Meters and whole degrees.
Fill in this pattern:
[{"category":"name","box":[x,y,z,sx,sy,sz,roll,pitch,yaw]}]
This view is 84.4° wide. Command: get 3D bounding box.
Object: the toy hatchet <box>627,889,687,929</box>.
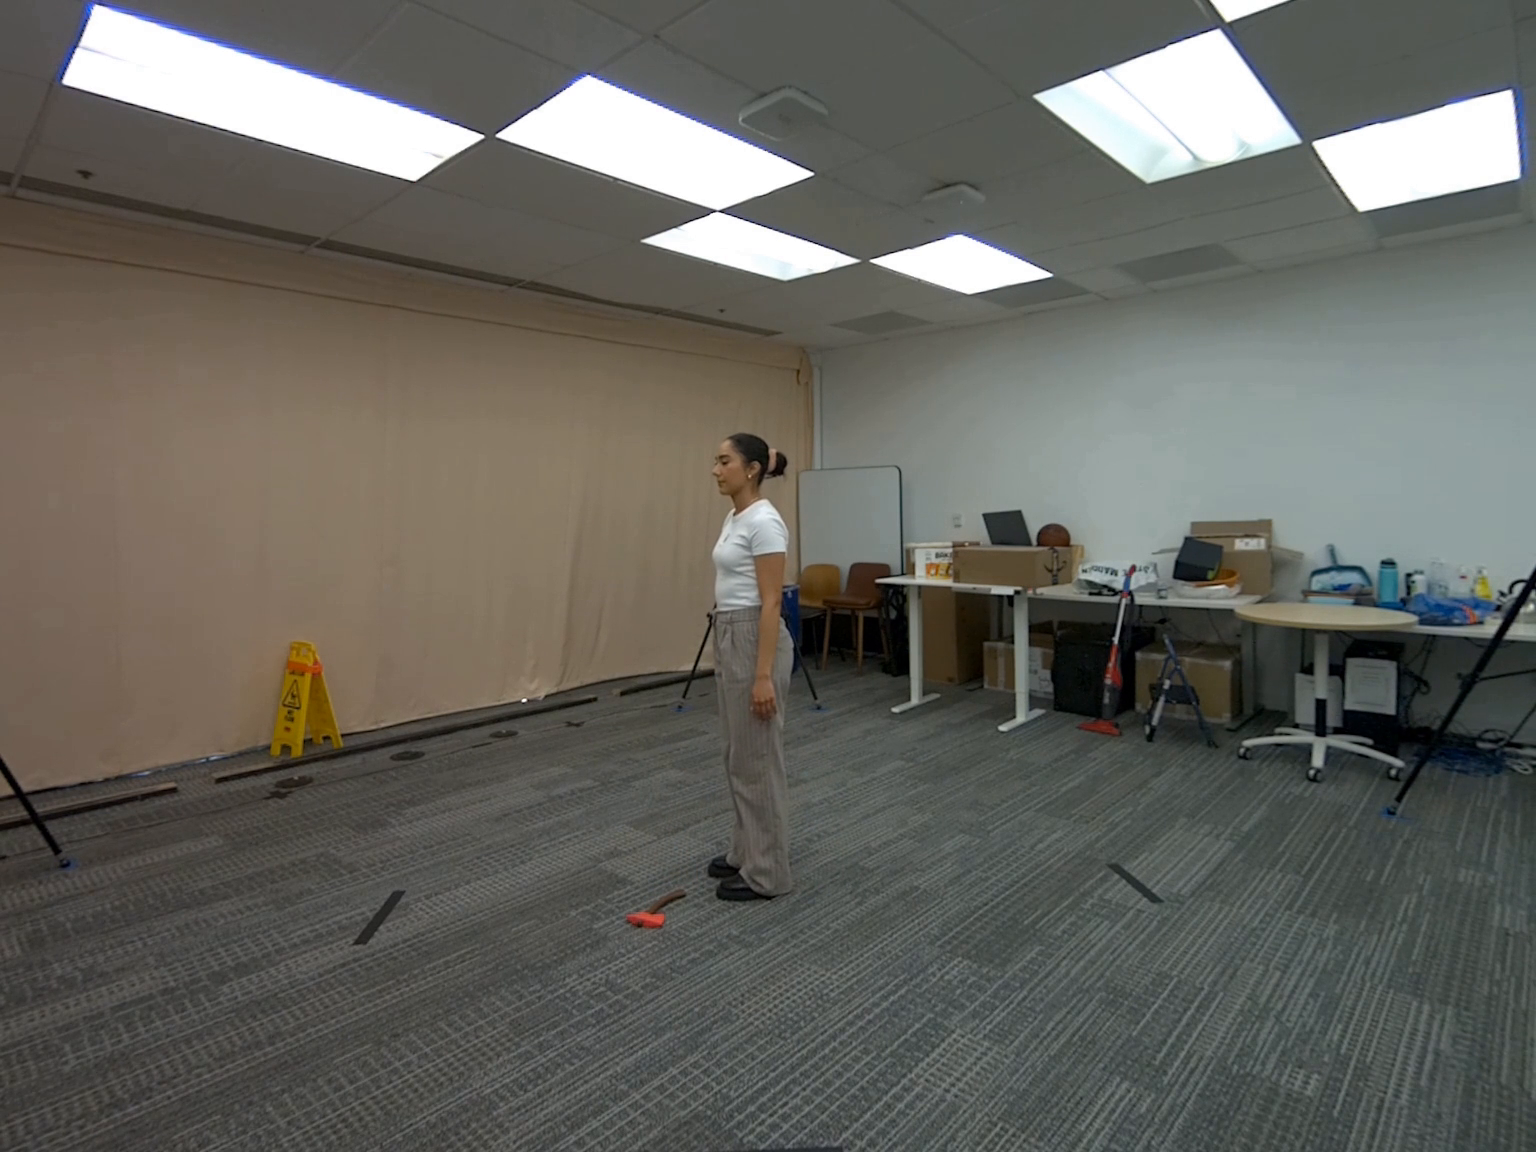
[{"category":"toy hatchet","box":[-0.354,1.146,2.884,0.135,0.029,0.262,0,4,37]}]
